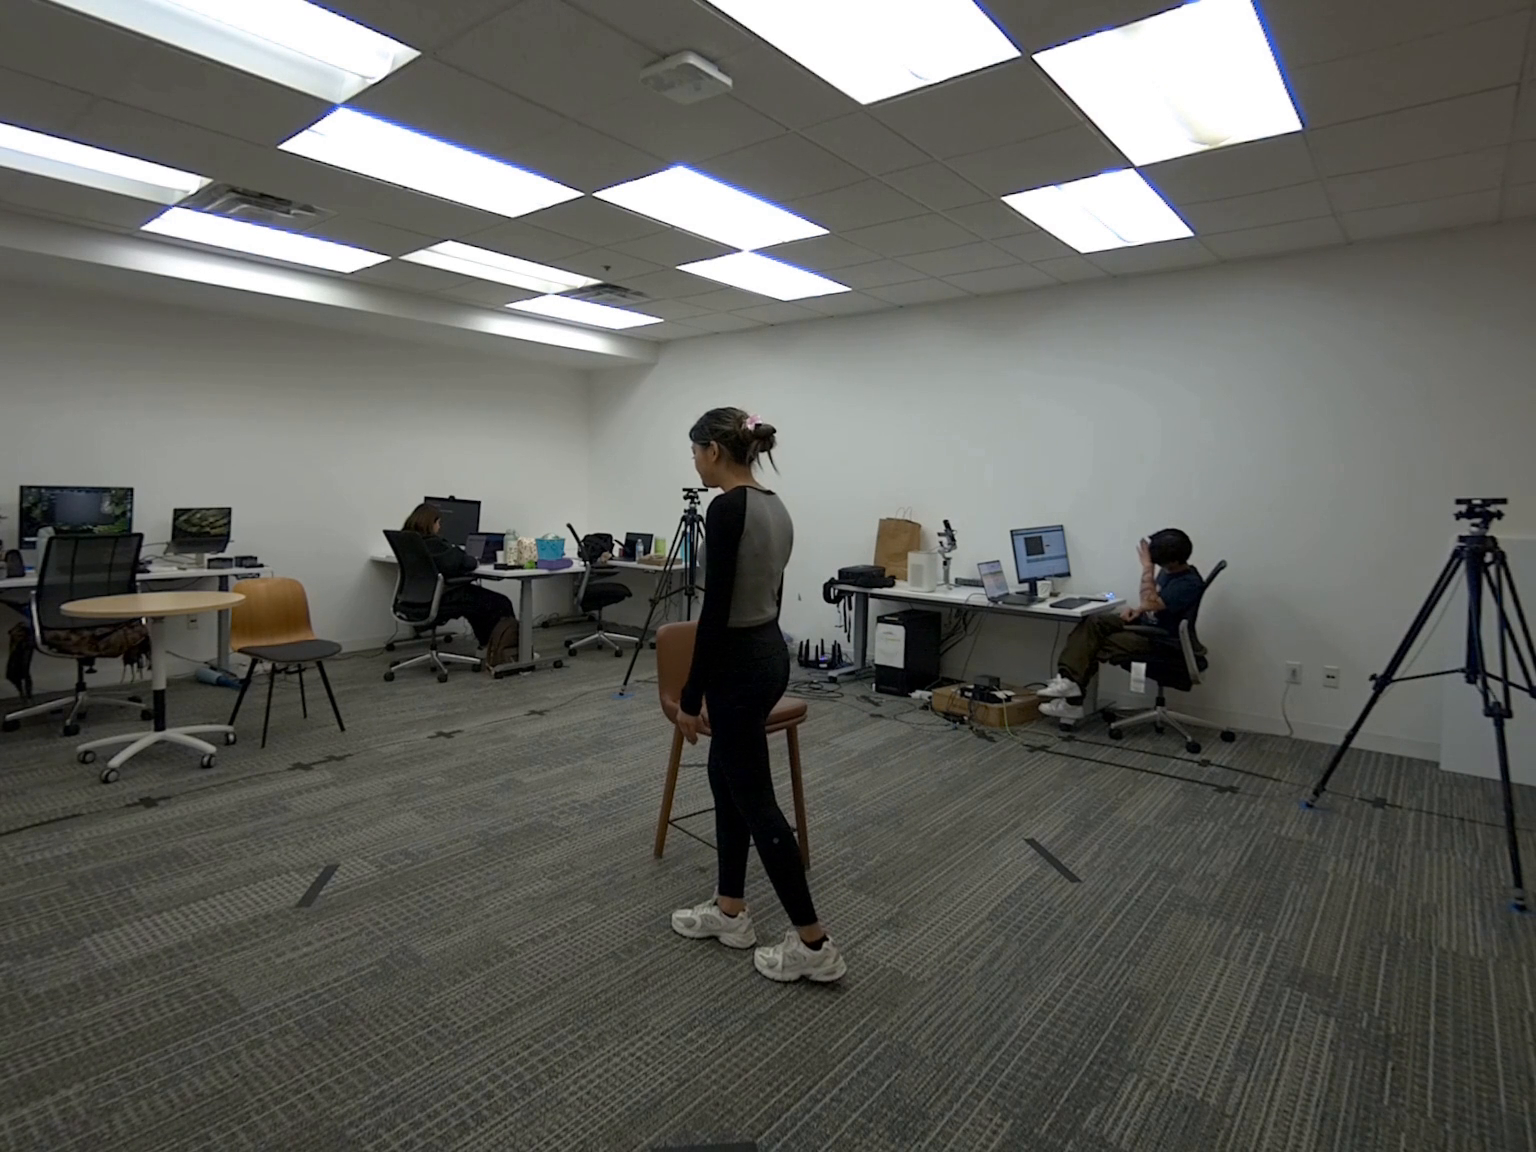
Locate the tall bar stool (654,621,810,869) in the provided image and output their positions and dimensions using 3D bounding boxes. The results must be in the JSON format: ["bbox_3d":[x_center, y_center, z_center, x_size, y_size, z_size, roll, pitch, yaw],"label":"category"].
[{"bbox_3d":[-0.146,0.630,3.148,0.442,0.889,0.483,-2,2,-43],"label":"tall bar stool"}]
